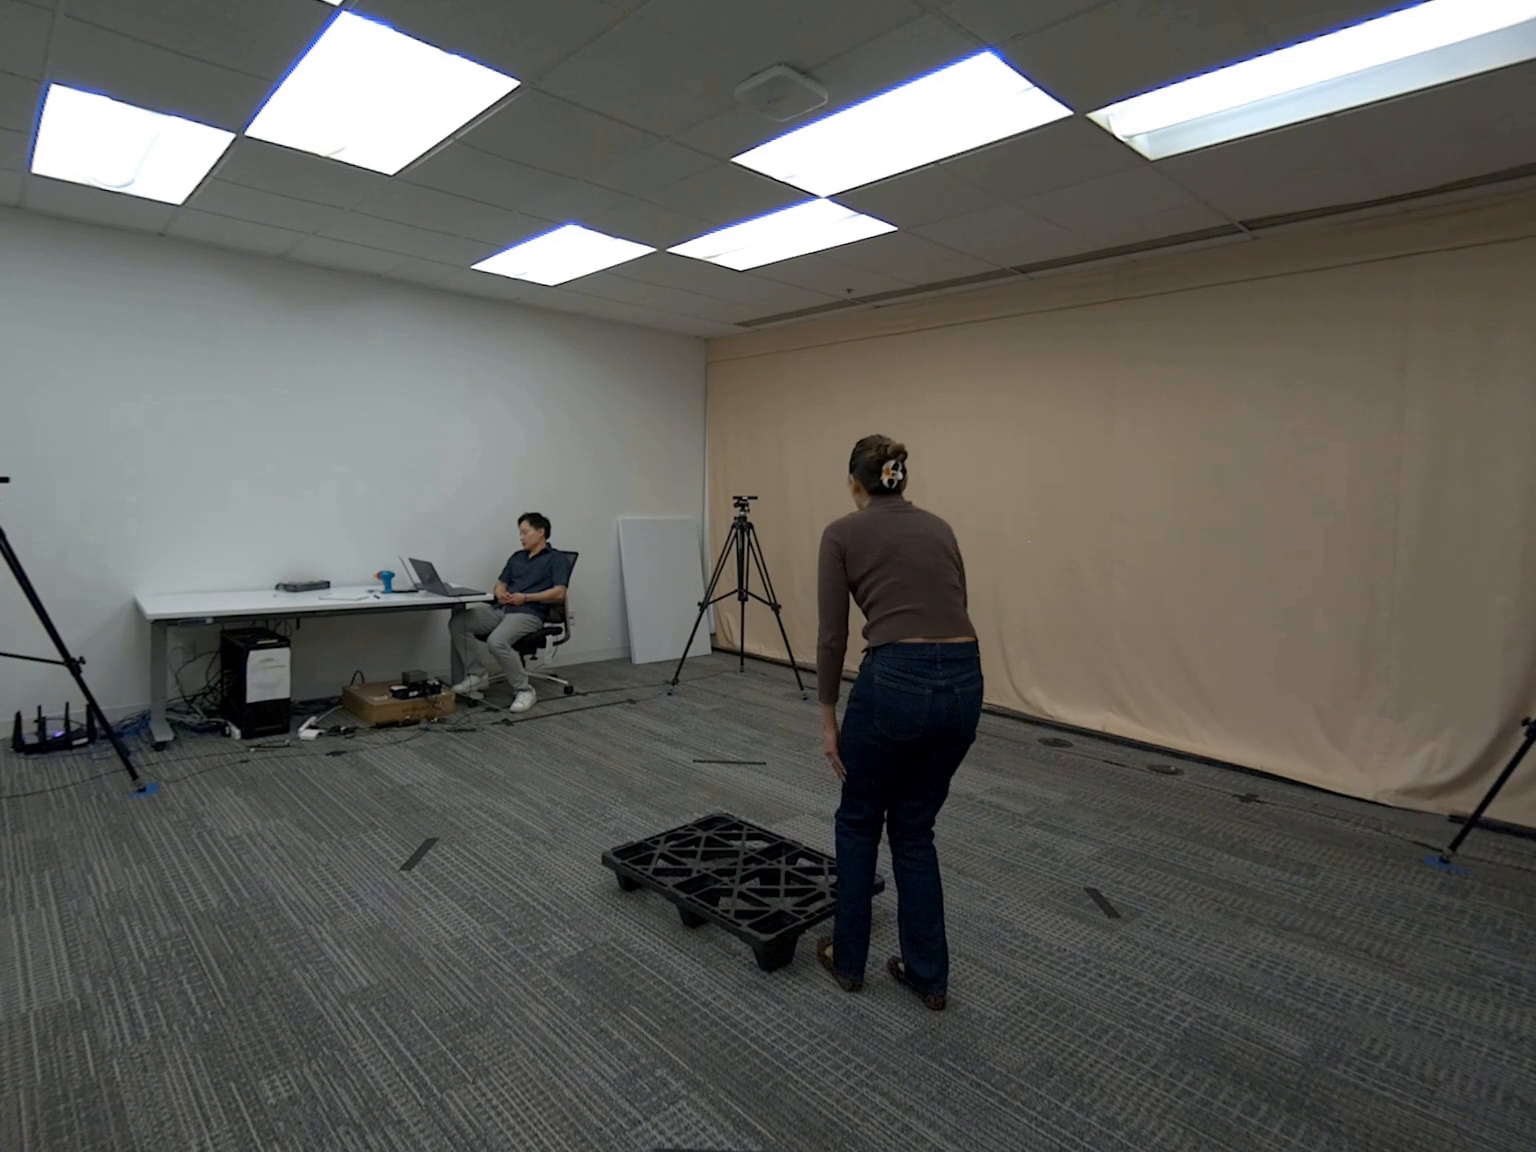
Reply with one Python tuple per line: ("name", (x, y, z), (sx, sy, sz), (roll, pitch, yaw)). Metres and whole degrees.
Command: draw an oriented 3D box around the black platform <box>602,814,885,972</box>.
("black platform", (-0.105, 1.057, 2.879), (0.826, 0.143, 0.592), (6, 8, 44))
